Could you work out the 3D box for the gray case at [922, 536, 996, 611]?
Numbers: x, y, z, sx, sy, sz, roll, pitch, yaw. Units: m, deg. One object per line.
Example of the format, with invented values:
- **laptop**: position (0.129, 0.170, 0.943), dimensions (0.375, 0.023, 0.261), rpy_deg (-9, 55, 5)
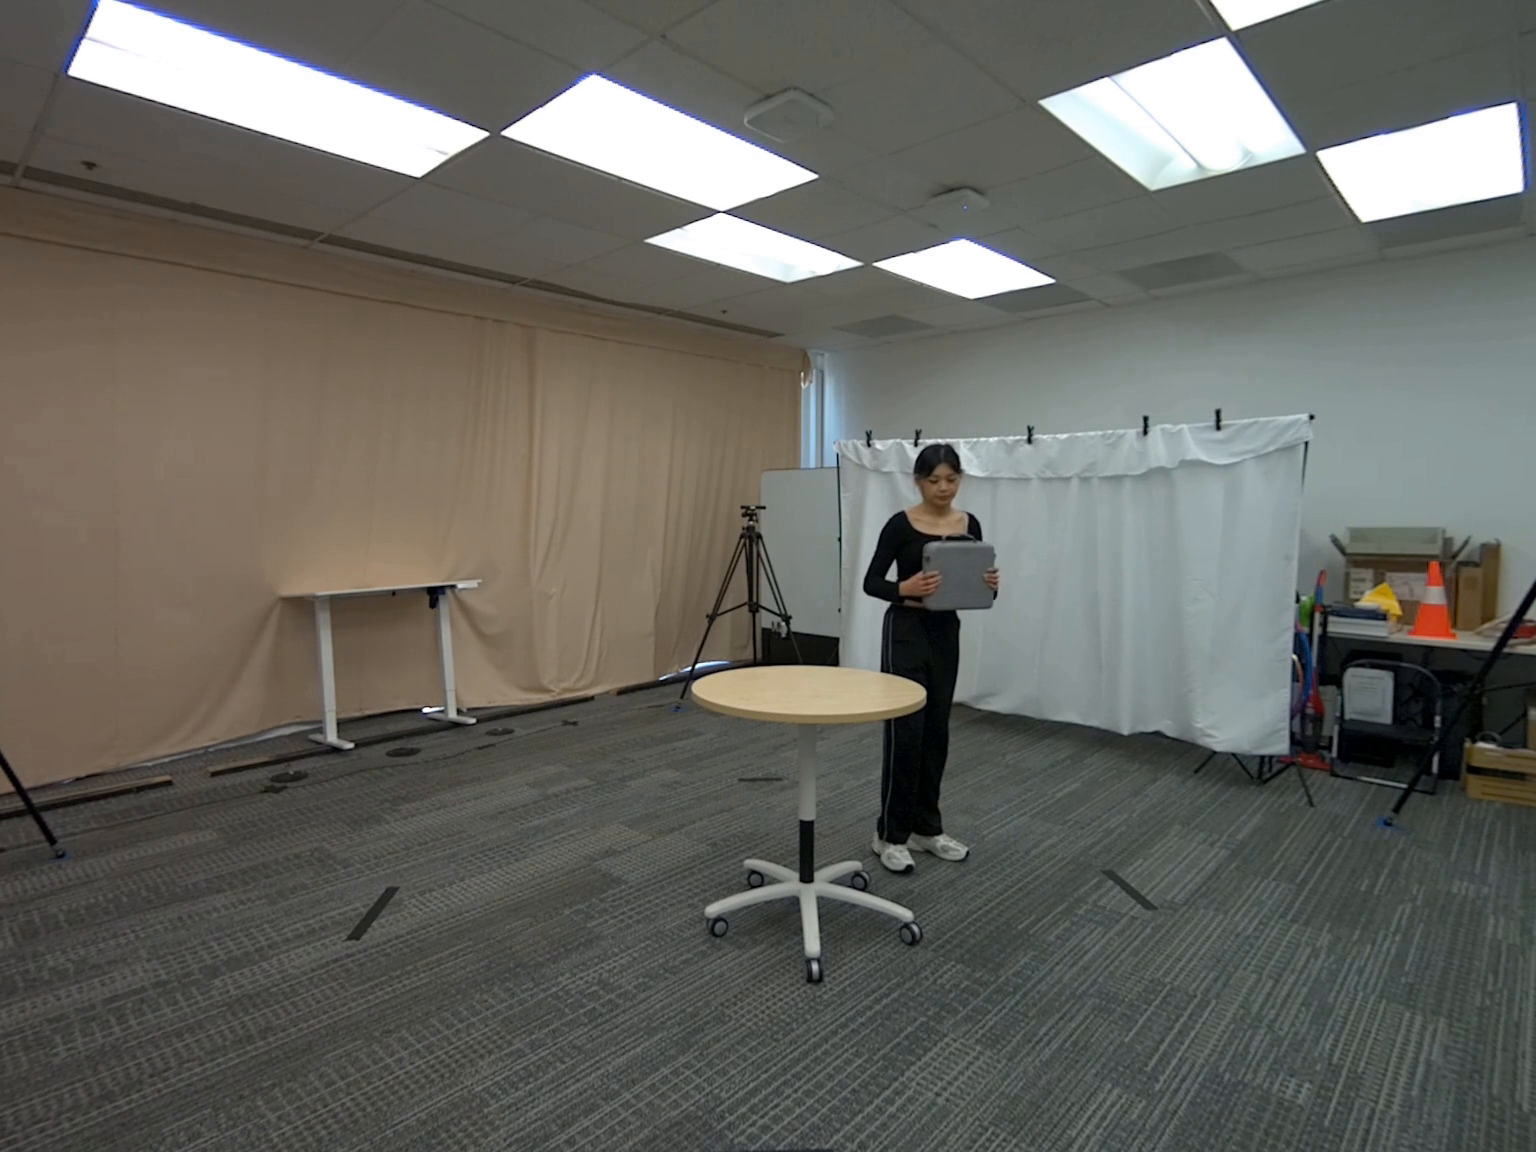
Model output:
- **gray case**: position (0.724, -0.003, 3.144), dimensions (0.255, 0.259, 0.105), rpy_deg (-1, 8, -6)
